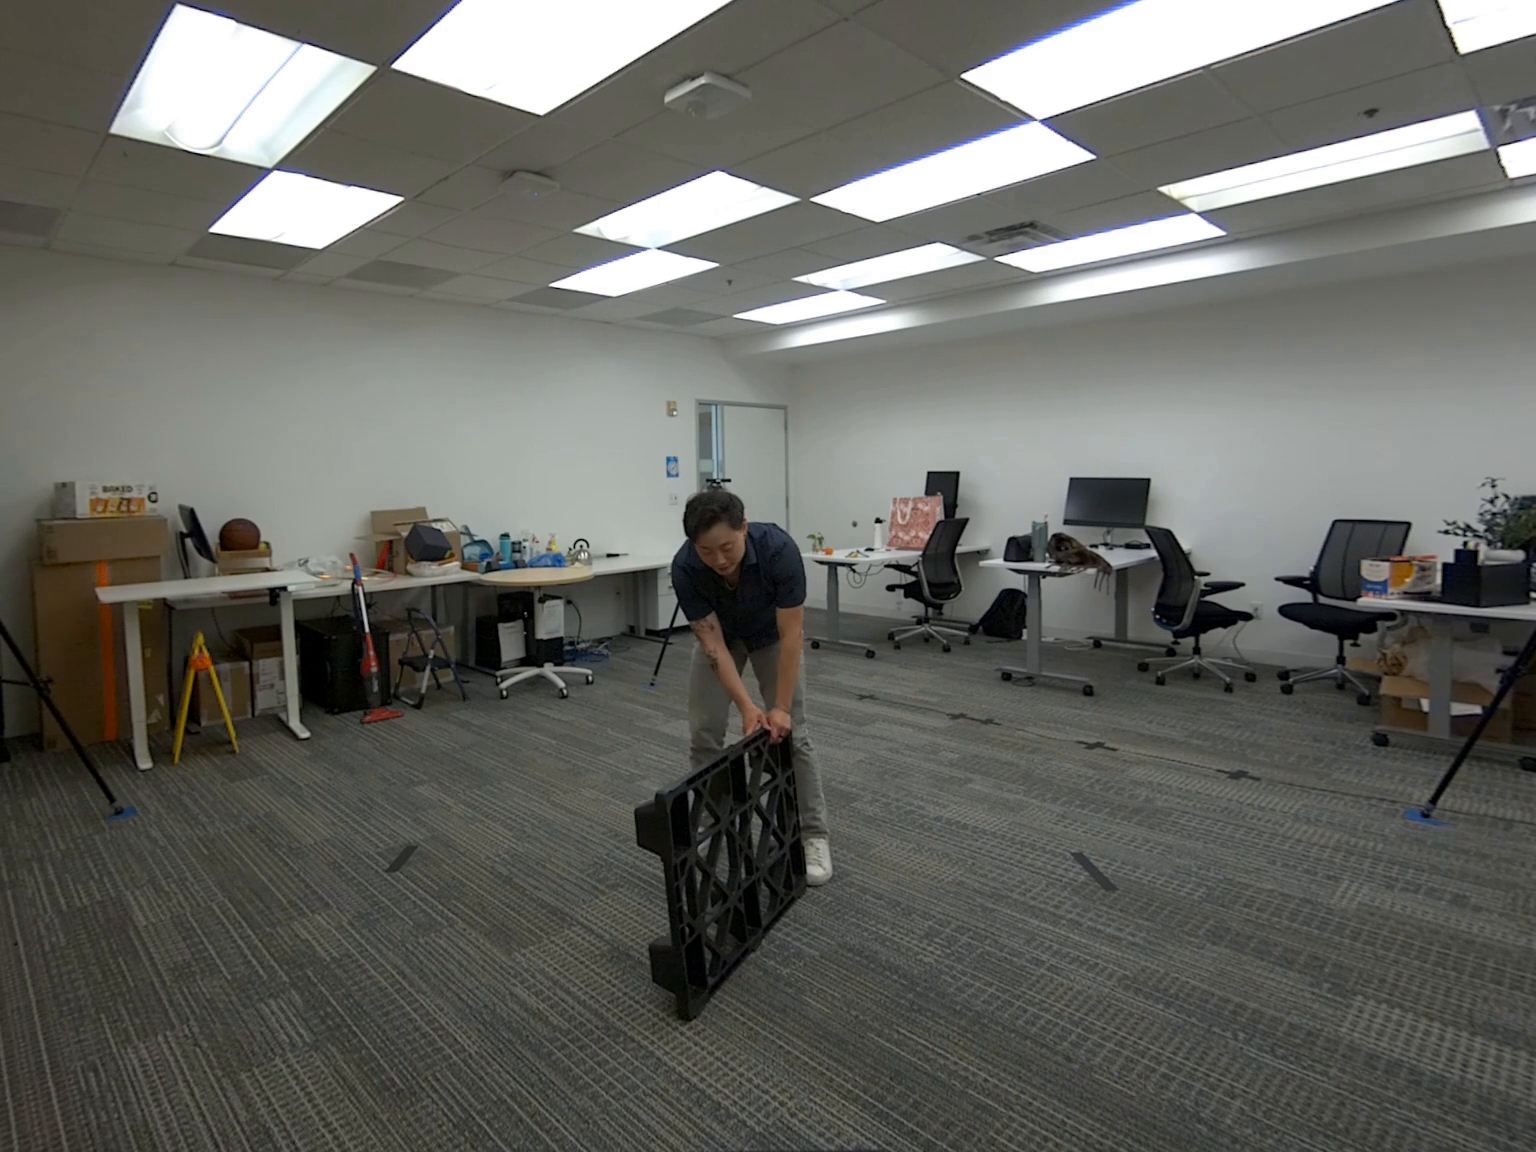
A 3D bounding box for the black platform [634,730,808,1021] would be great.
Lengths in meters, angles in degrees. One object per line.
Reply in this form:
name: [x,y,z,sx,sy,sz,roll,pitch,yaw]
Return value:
black platform: [-0.120,0.812,2.570,0.146,0.604,0.791,-6,3,25]
